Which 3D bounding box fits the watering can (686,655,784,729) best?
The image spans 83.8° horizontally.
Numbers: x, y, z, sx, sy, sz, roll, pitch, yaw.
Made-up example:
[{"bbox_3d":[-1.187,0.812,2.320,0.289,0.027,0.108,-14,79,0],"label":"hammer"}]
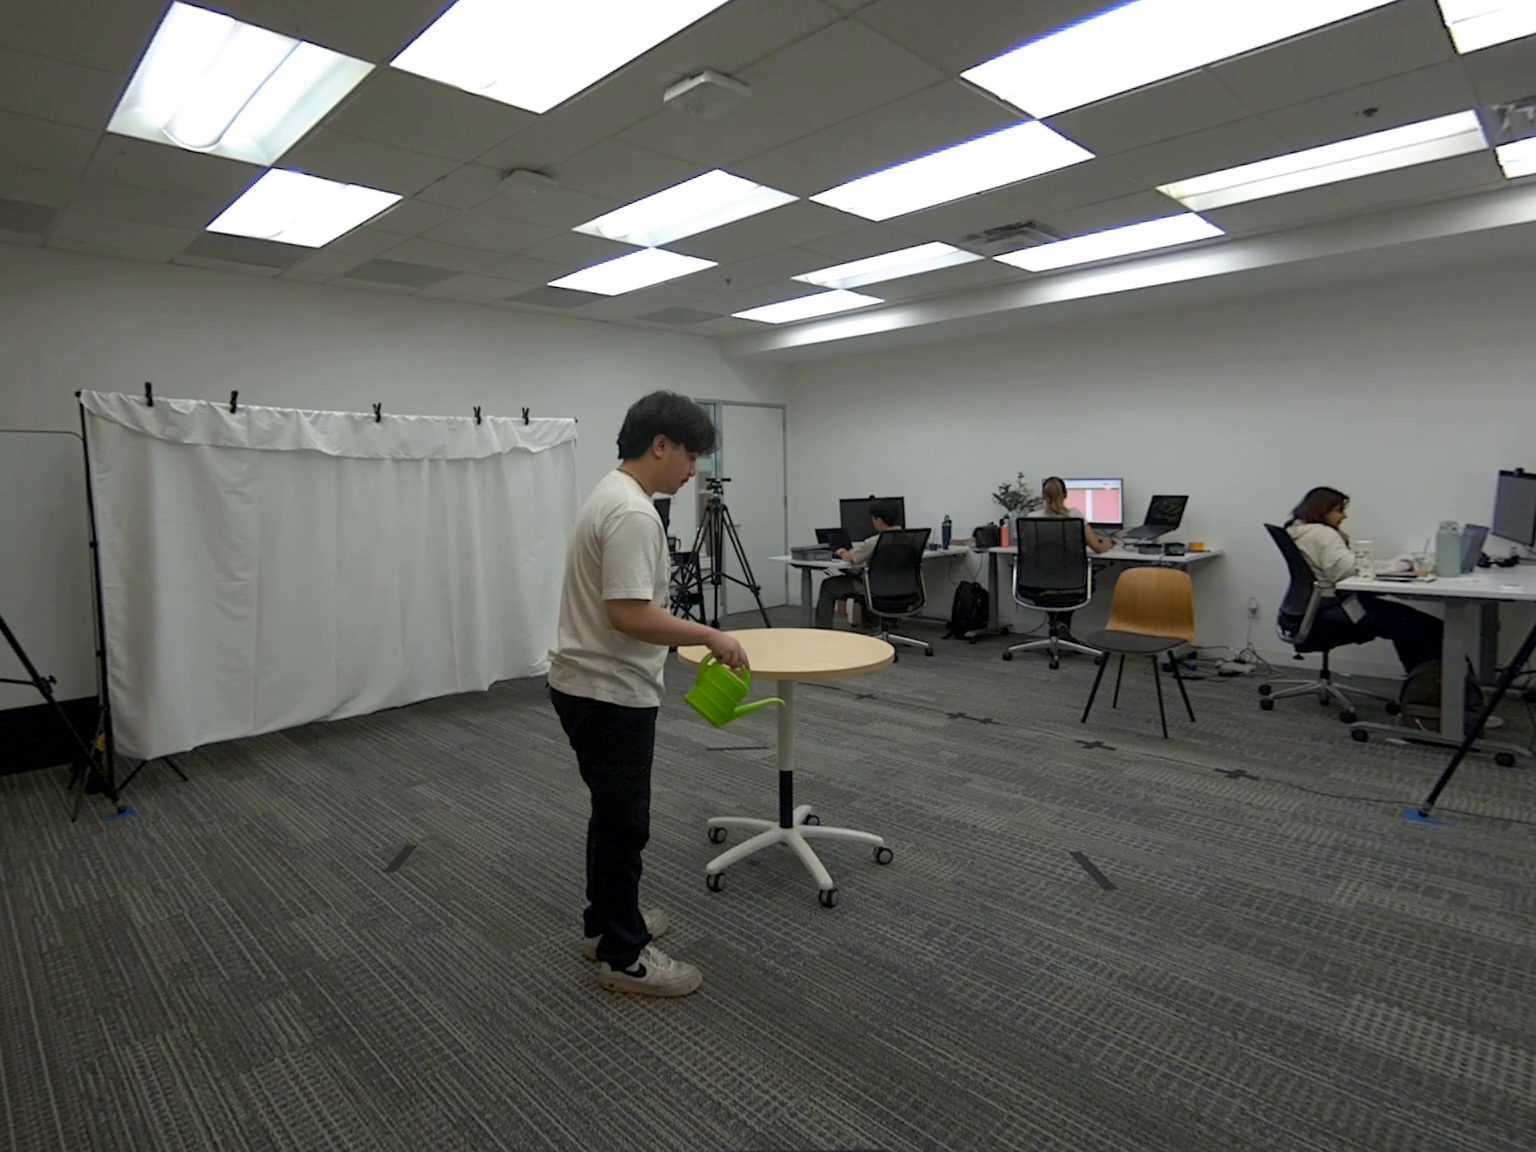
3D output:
[{"bbox_3d":[-0.091,0.330,2.294,0.277,0.177,0.098,39,-10,-2],"label":"watering can"}]
